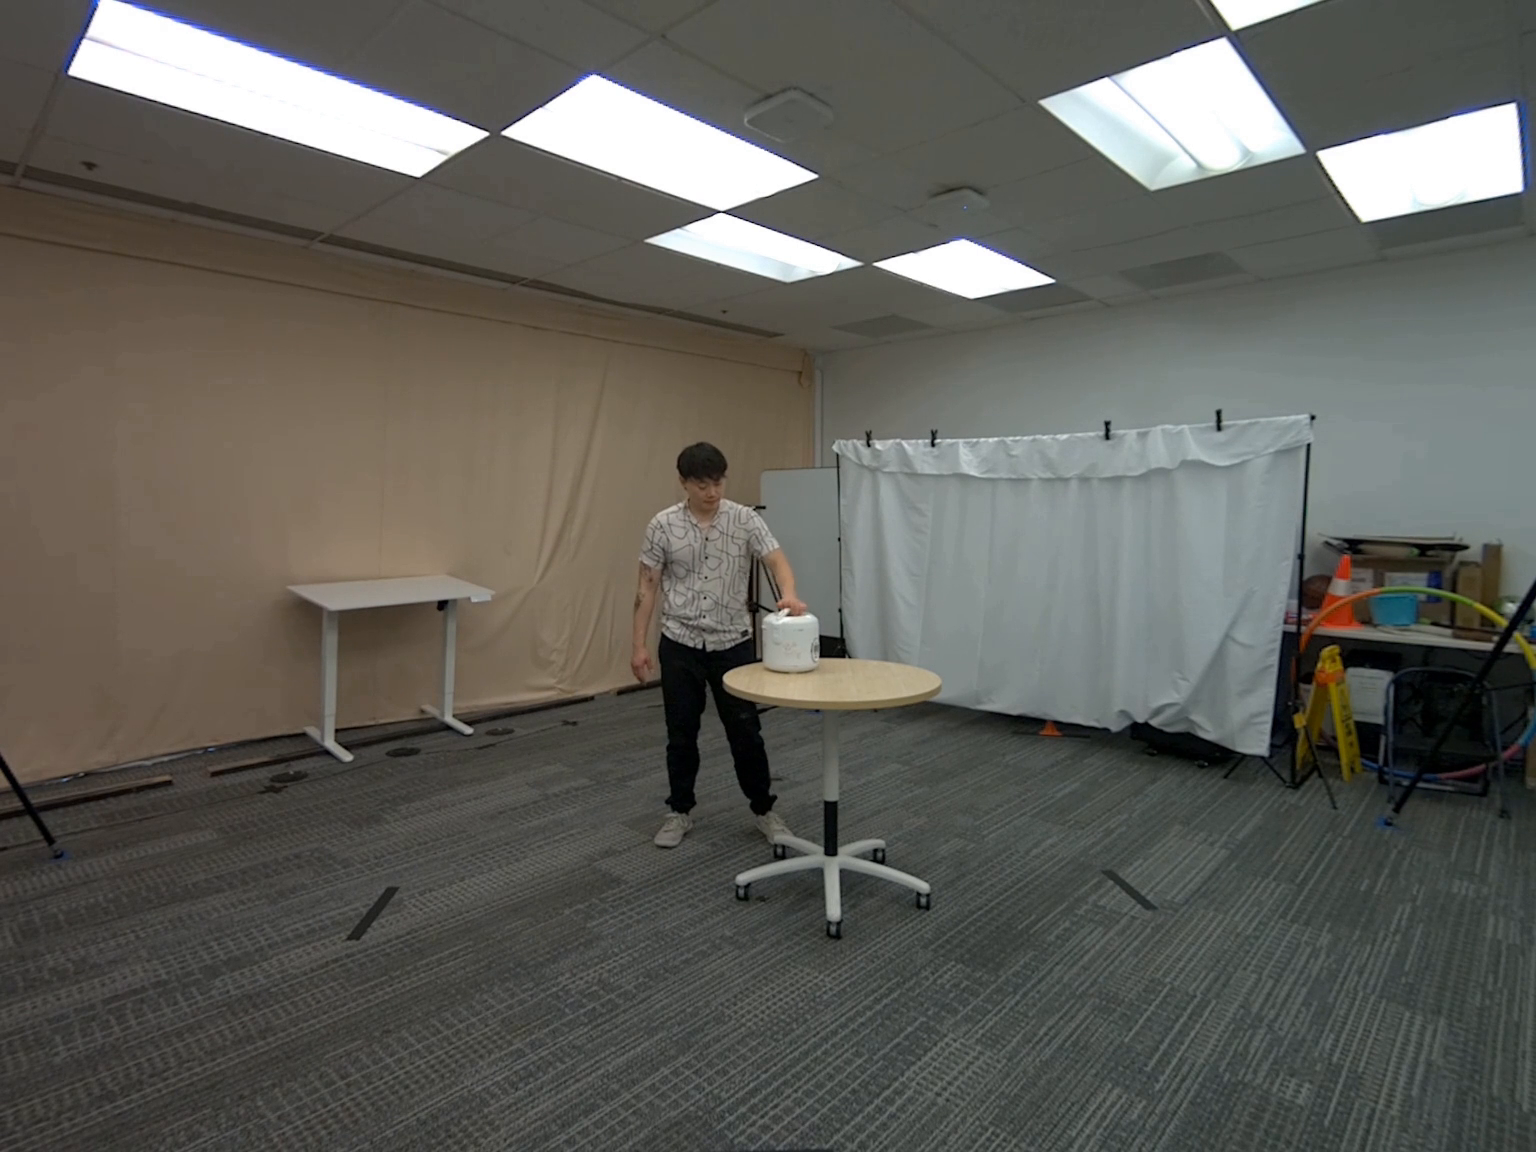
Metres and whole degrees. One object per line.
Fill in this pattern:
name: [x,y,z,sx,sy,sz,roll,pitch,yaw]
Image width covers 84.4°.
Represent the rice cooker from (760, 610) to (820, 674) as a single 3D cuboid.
rice cooker: [0.090,0.233,3.147,0.224,0.232,0.214,0,3,33]
